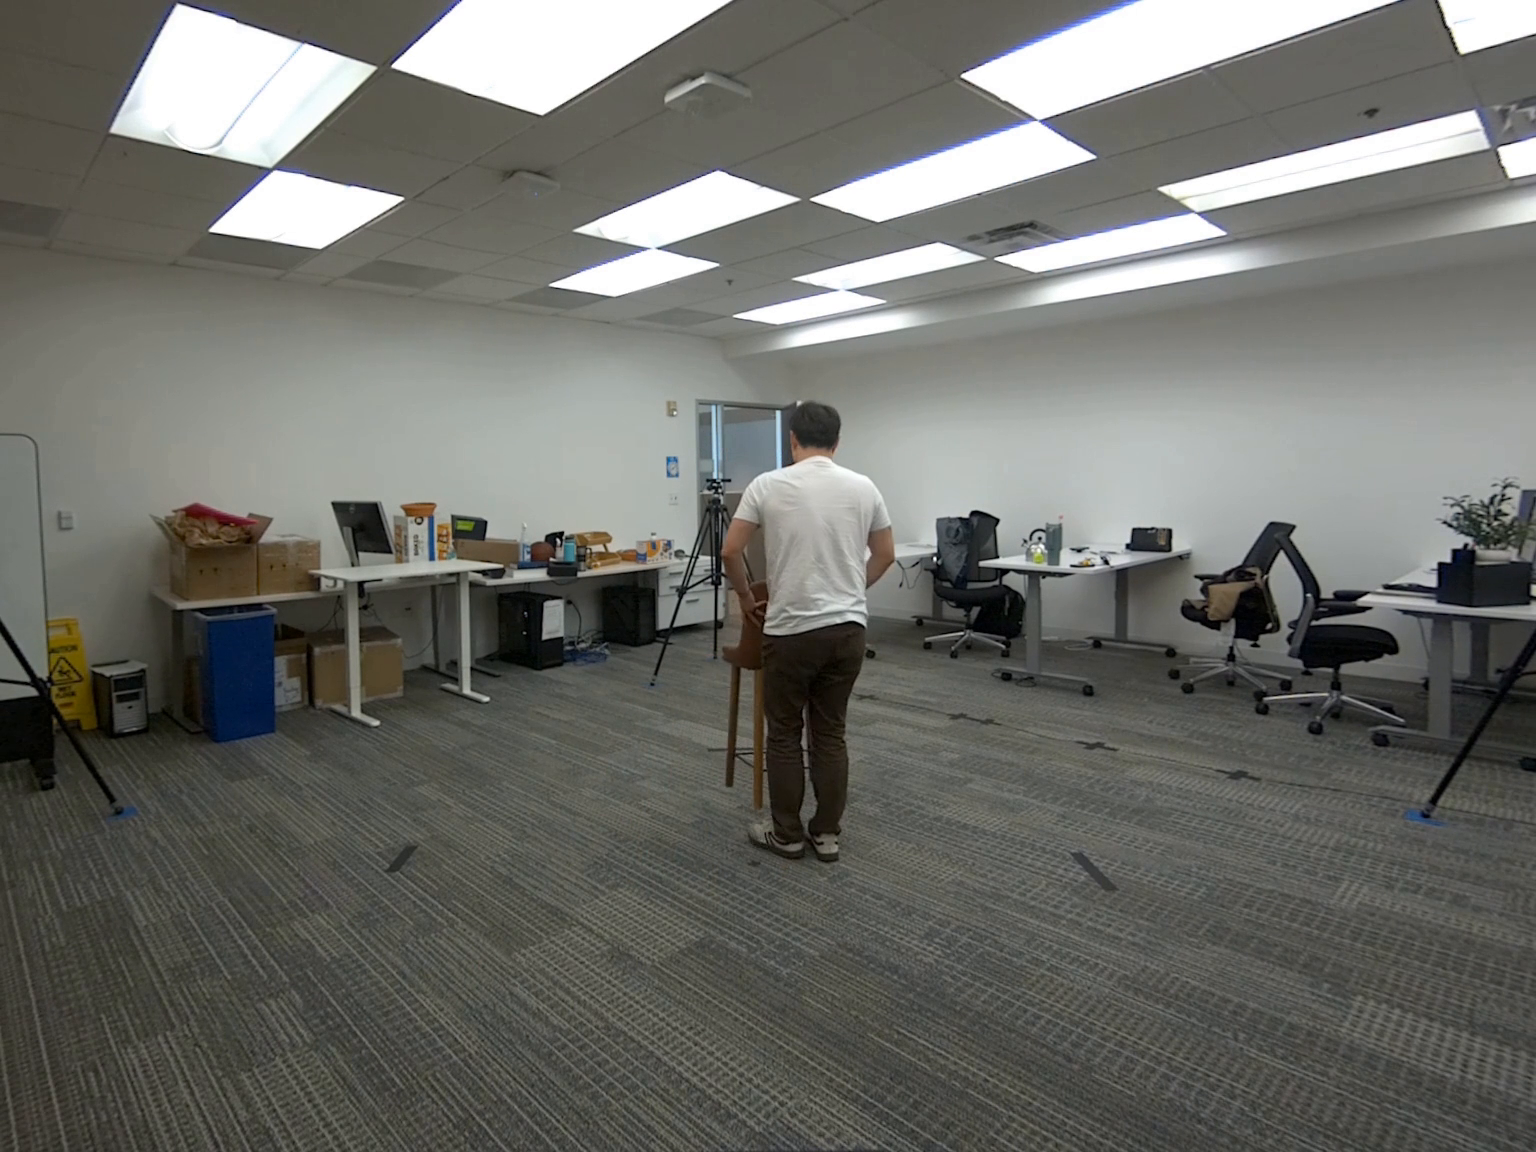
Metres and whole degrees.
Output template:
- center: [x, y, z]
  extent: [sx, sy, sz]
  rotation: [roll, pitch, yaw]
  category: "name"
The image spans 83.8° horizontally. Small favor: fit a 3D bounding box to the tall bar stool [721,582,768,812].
- center: [0.065, 0.465, 3.536]
  extent: [0.450, 0.891, 0.473]
  rotation: [0, -2, -15]
  category: "tall bar stool"
